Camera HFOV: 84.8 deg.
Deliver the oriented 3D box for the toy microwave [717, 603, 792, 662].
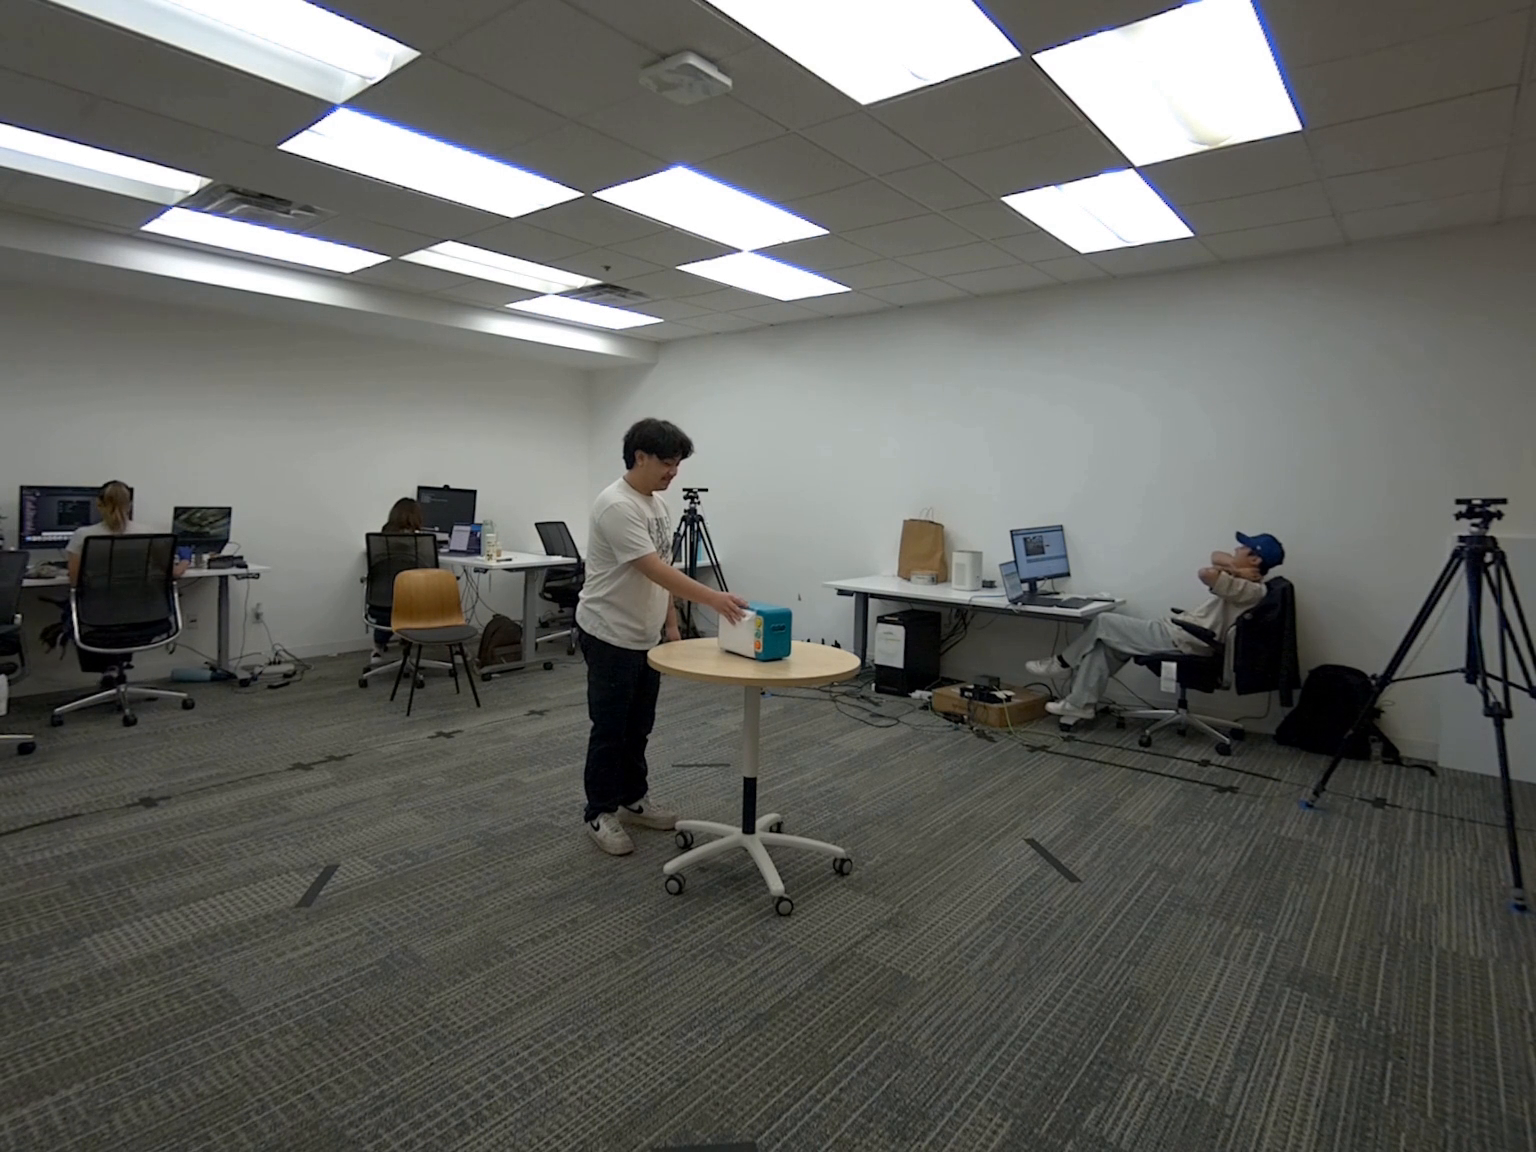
[{"bbox_3d":[-0.065,0.192,3.078,0.148,0.183,0.296,-1,6,-37],"label":"toy microwave"}]
